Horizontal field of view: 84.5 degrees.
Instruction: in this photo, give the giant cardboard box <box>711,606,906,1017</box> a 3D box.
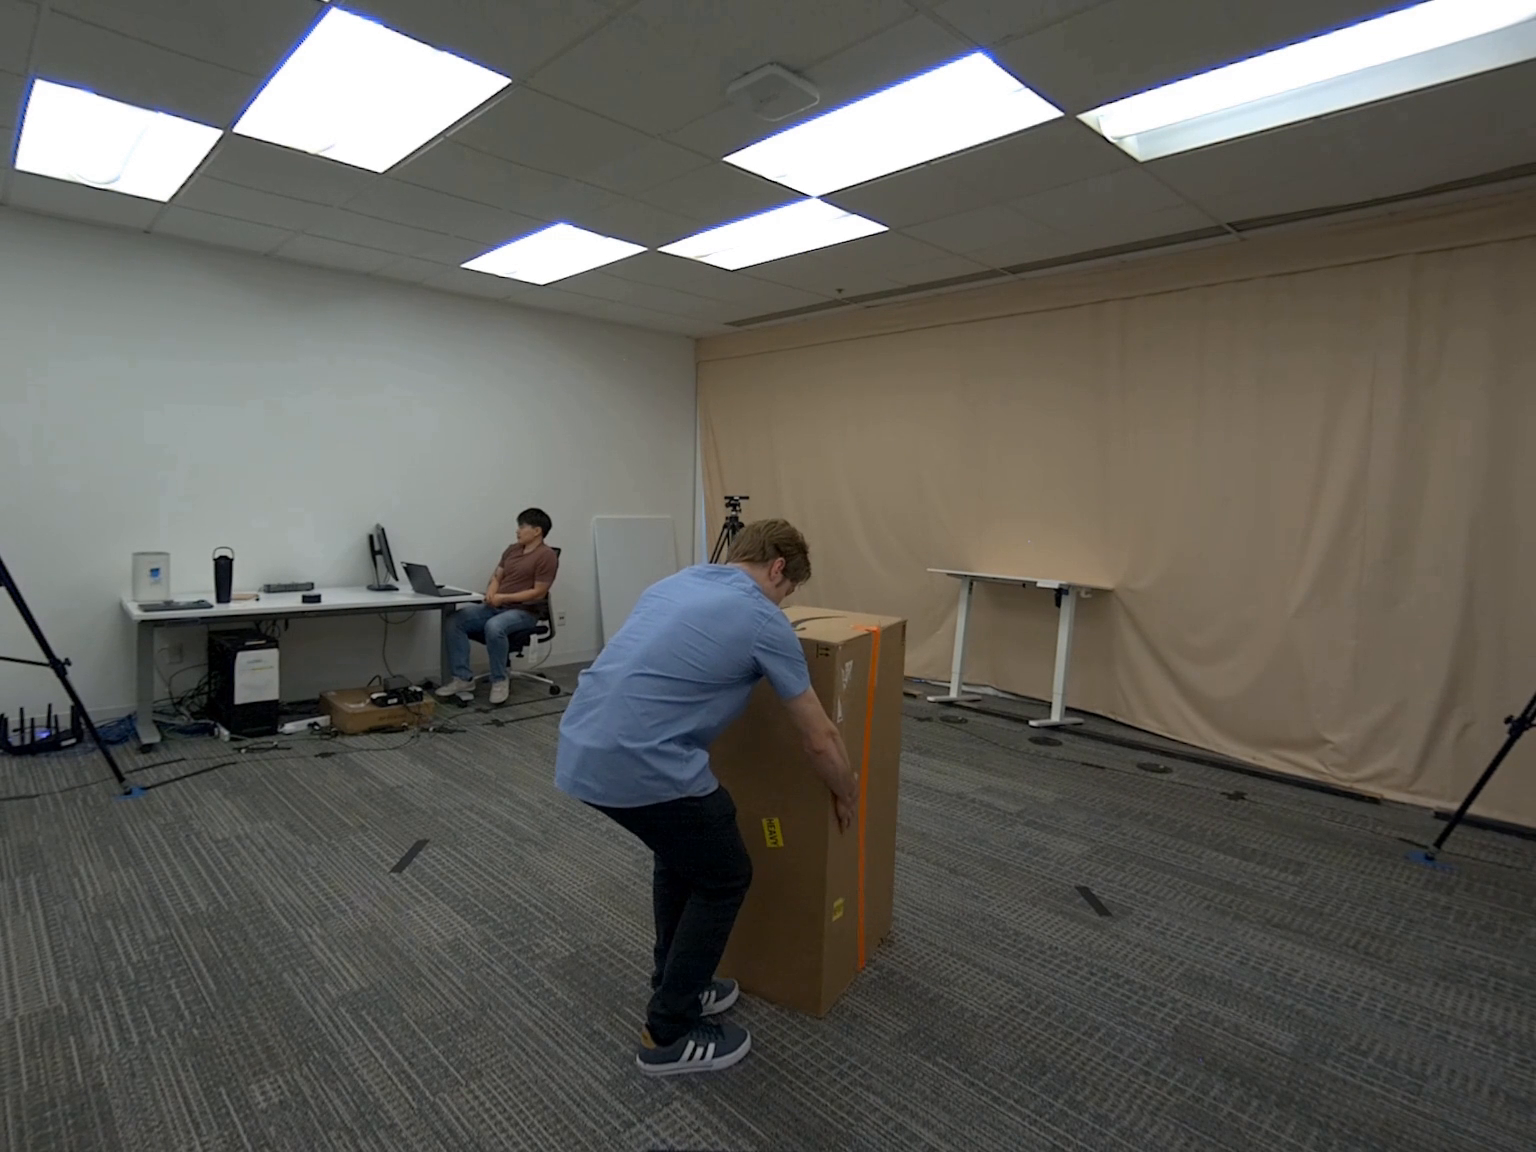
[{"bbox_3d":[0.111,0.650,2.574,0.435,1.023,0.566,4,4,30],"label":"giant cardboard box"}]
